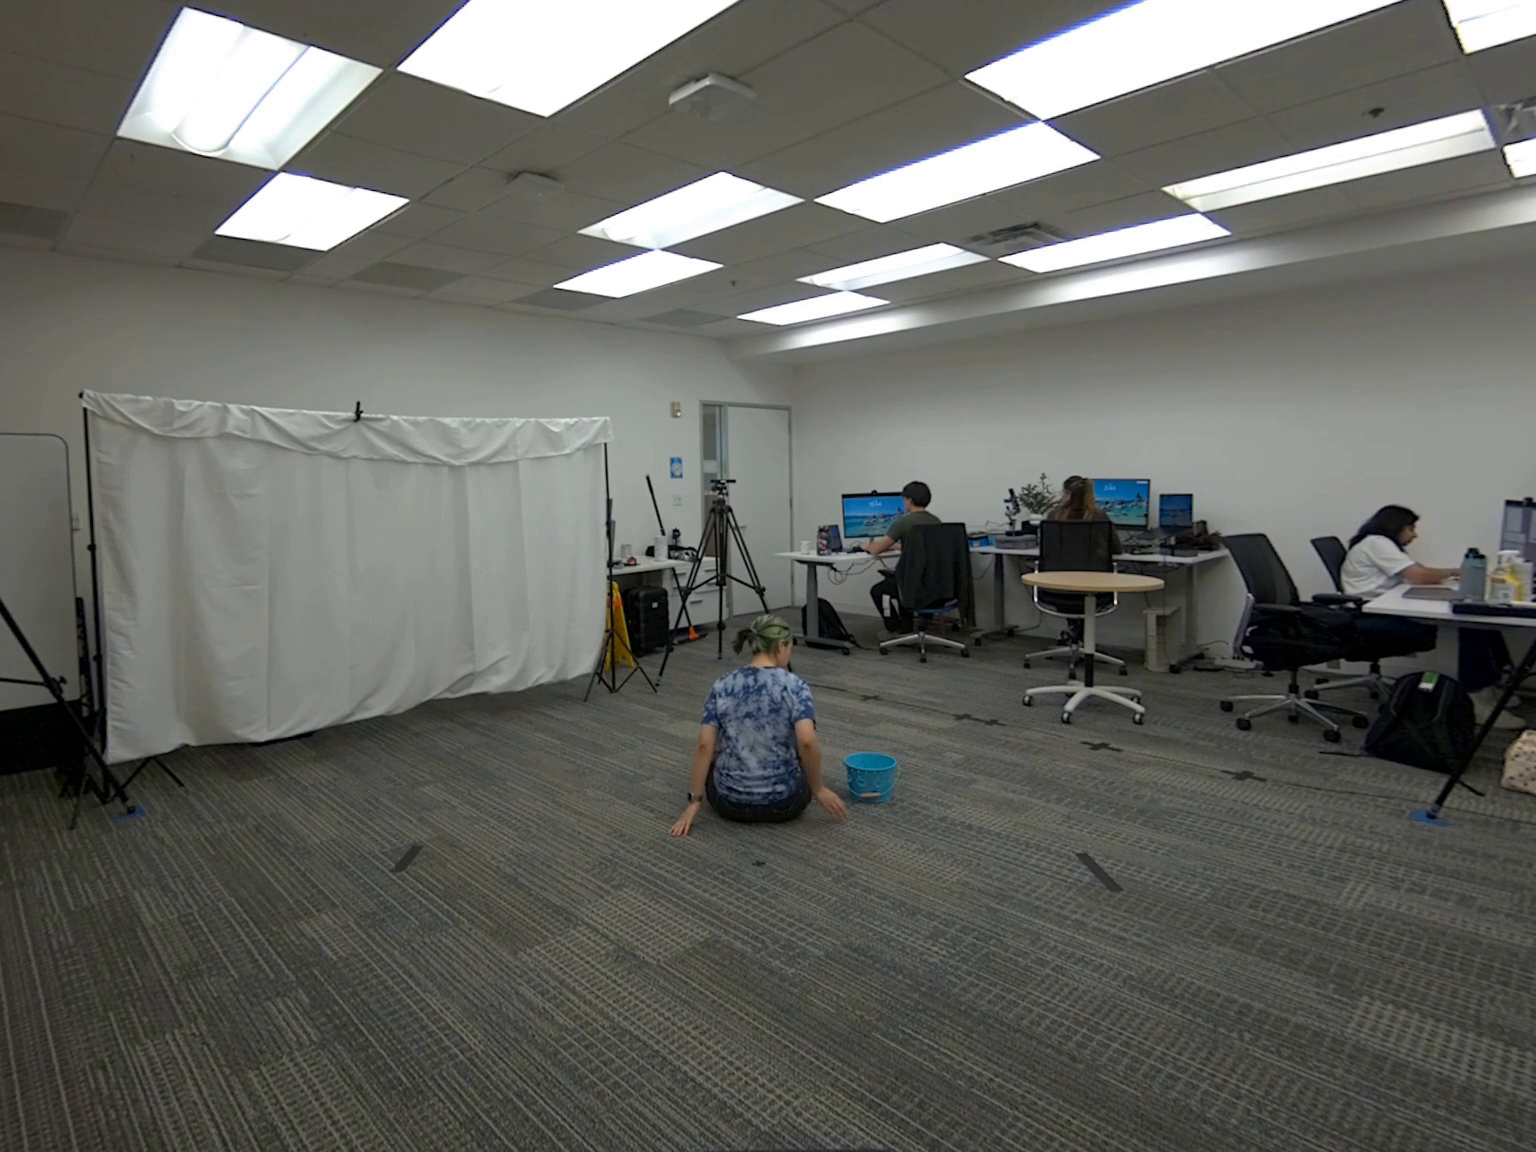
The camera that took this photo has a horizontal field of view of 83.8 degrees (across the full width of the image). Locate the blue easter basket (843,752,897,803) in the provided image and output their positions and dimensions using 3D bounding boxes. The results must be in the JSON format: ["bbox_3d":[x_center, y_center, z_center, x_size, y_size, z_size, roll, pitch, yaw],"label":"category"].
[{"bbox_3d":[0.445,0.881,3.761,0.243,0.155,0.245,-1,5,-2],"label":"blue easter basket"}]
